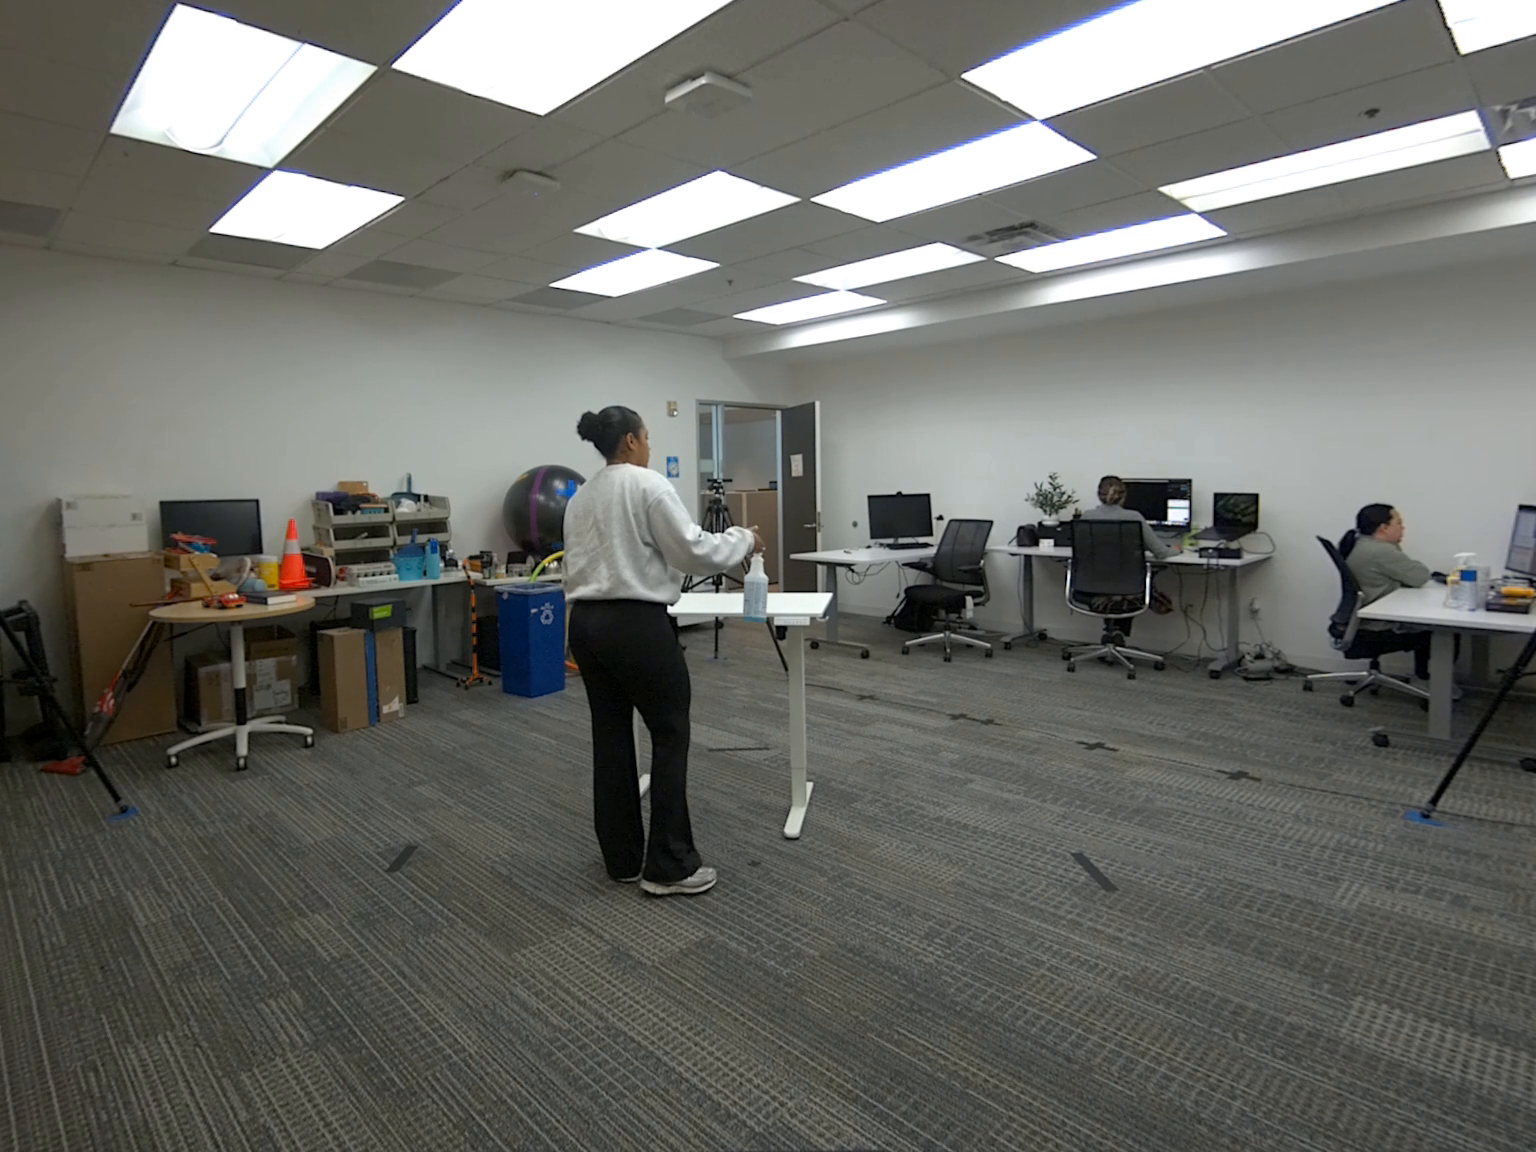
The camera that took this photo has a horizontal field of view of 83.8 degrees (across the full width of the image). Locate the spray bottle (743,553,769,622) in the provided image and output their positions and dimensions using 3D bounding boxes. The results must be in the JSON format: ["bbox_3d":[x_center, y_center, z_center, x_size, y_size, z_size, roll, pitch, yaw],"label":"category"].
[{"bbox_3d":[-0.047,0.023,3.083,0.088,0.298,0.089,1,-3,-32],"label":"spray bottle"}]
